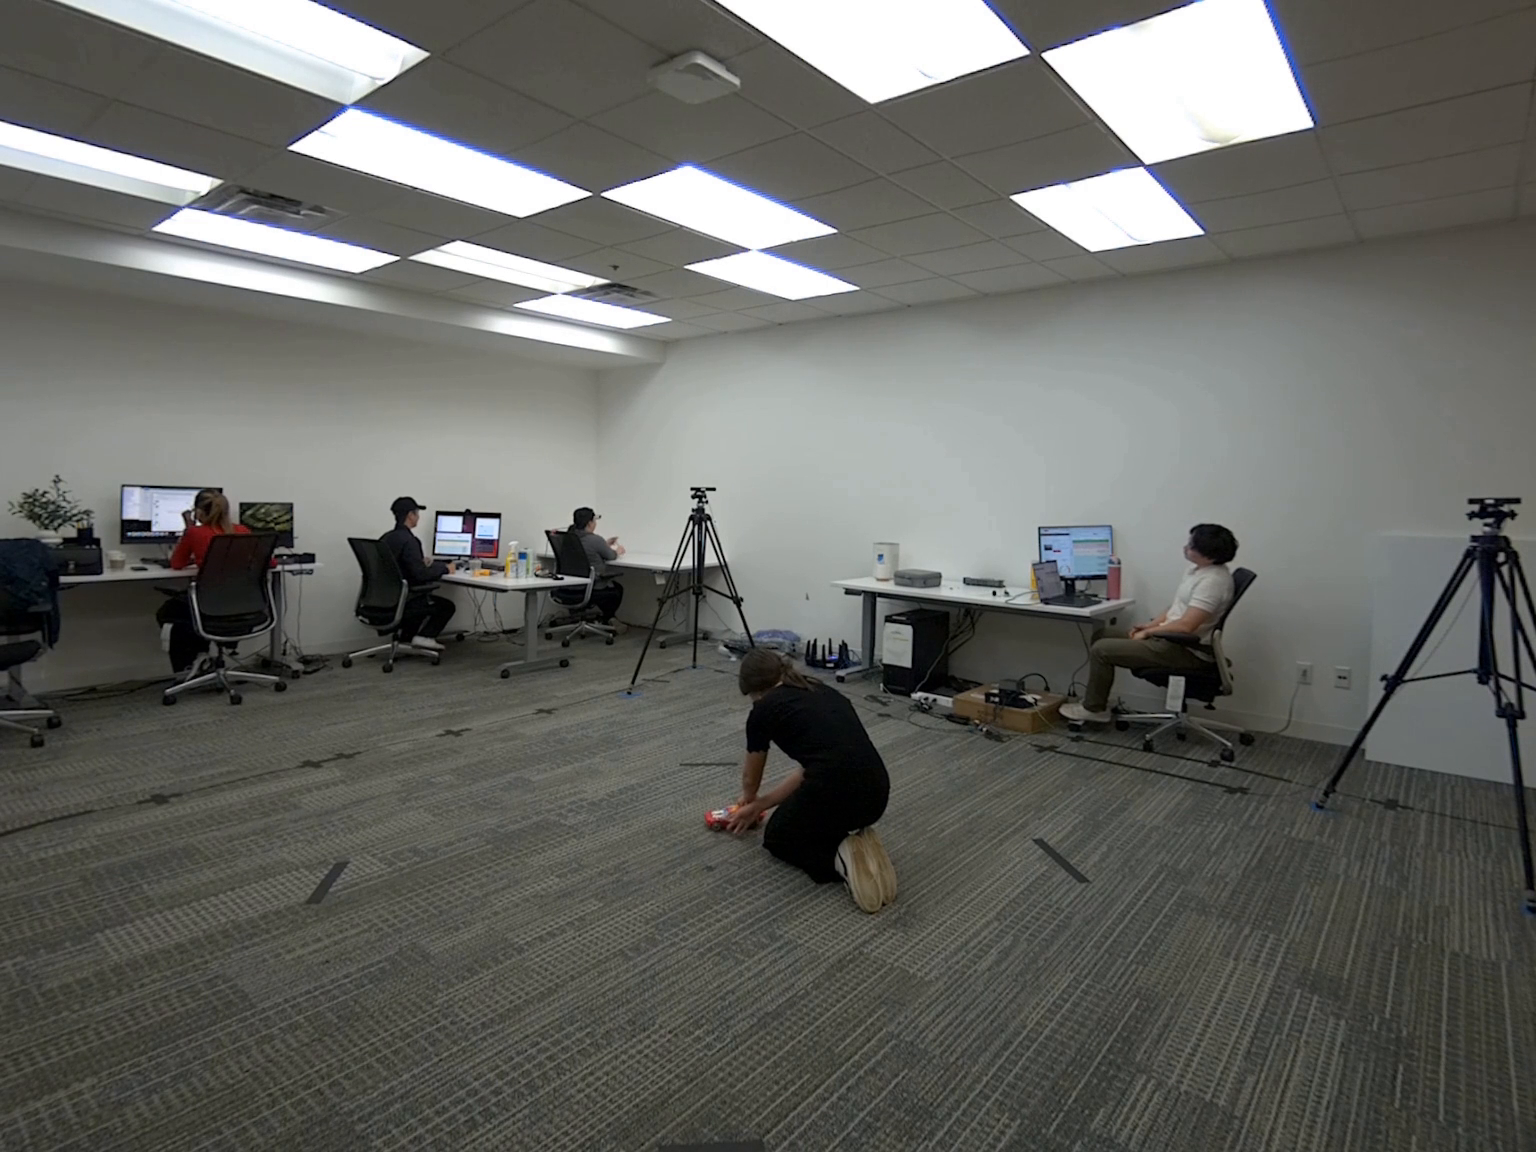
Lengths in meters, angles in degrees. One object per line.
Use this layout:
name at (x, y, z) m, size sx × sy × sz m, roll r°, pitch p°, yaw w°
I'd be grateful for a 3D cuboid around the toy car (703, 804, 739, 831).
toy car at (-0.145, 0.997, 3.519) m, size 0.252 × 0.082 × 0.133 m, roll -10°, pitch 8°, yaw -13°
